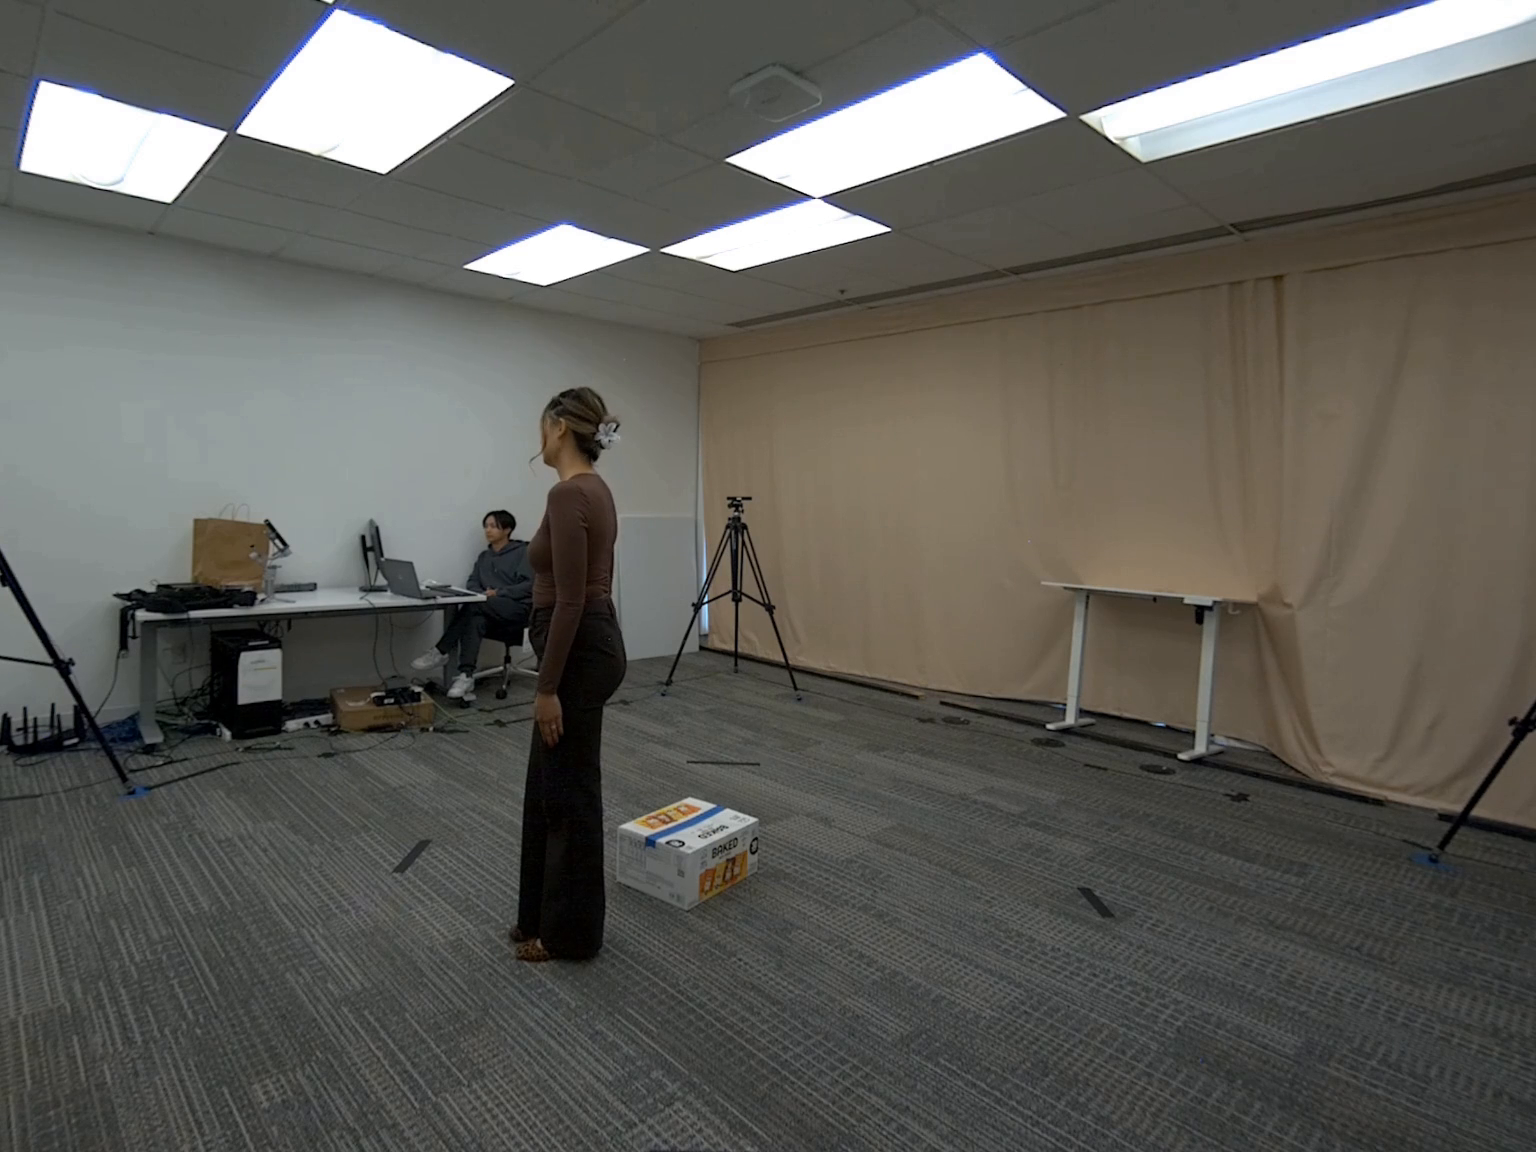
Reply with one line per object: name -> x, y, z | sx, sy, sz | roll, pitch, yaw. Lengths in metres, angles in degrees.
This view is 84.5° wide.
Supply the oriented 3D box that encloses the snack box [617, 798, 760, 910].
snack box -> -0.298, 1.003, 3.075 | 0.349, 0.205, 0.396 | 5, 6, 37
